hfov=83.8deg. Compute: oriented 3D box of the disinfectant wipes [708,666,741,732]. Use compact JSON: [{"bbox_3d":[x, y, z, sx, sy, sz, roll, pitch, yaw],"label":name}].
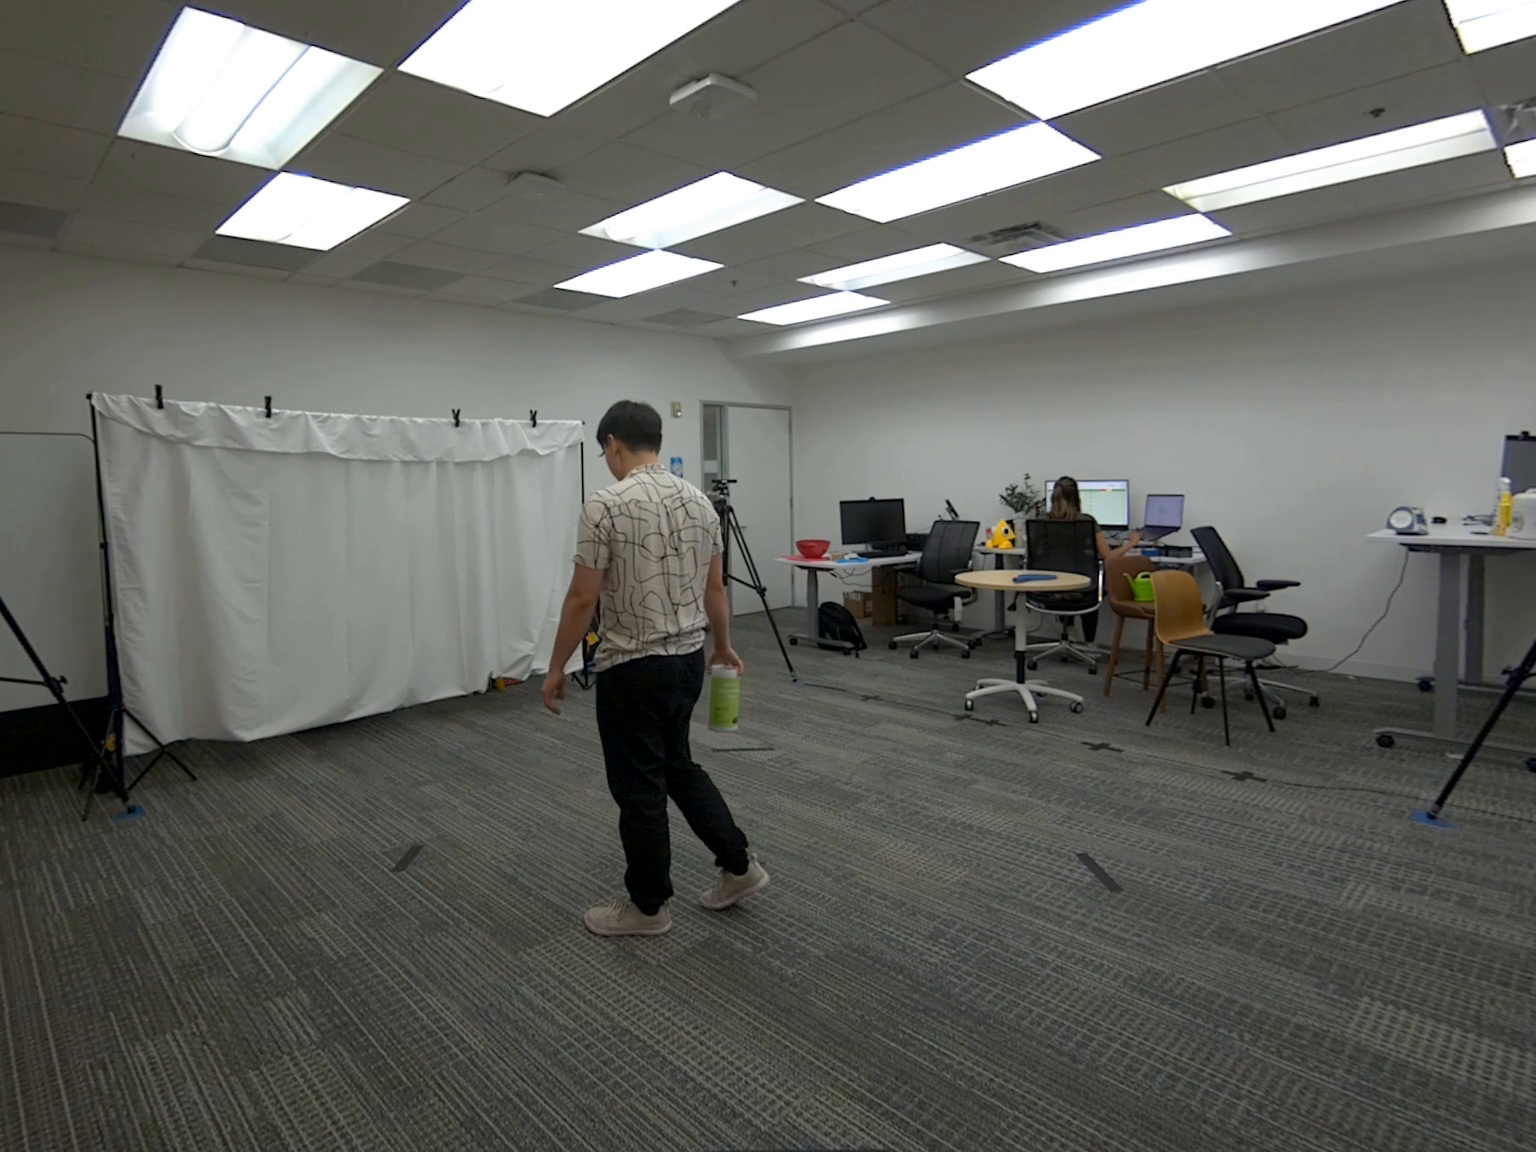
[{"bbox_3d":[-0.149,0.426,2.971,0.118,0.217,0.118,2,3,-2],"label":"disinfectant wipes"}]
